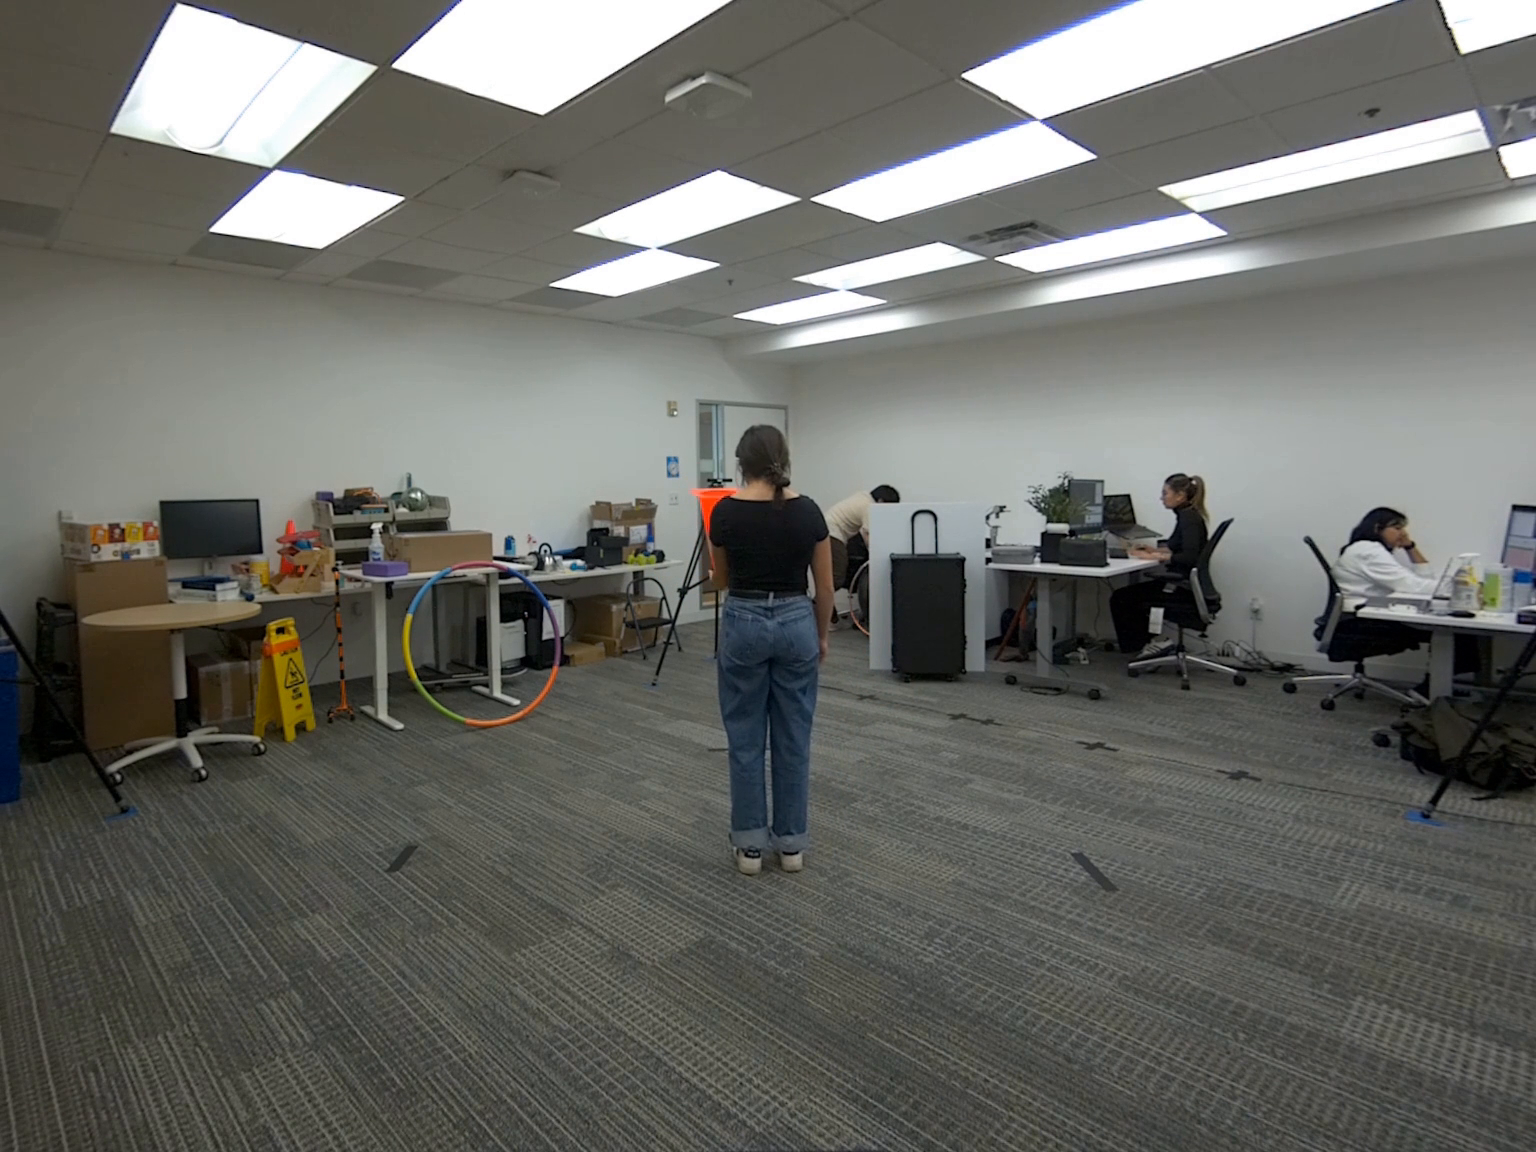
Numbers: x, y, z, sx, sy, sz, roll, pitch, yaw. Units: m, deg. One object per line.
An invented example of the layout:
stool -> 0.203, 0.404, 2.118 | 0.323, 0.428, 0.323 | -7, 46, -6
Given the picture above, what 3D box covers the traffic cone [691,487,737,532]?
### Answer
traffic cone -> -0.187, -0.148, 3.461 | 0.202, 0.379, 0.209 | -5, 15, -17
